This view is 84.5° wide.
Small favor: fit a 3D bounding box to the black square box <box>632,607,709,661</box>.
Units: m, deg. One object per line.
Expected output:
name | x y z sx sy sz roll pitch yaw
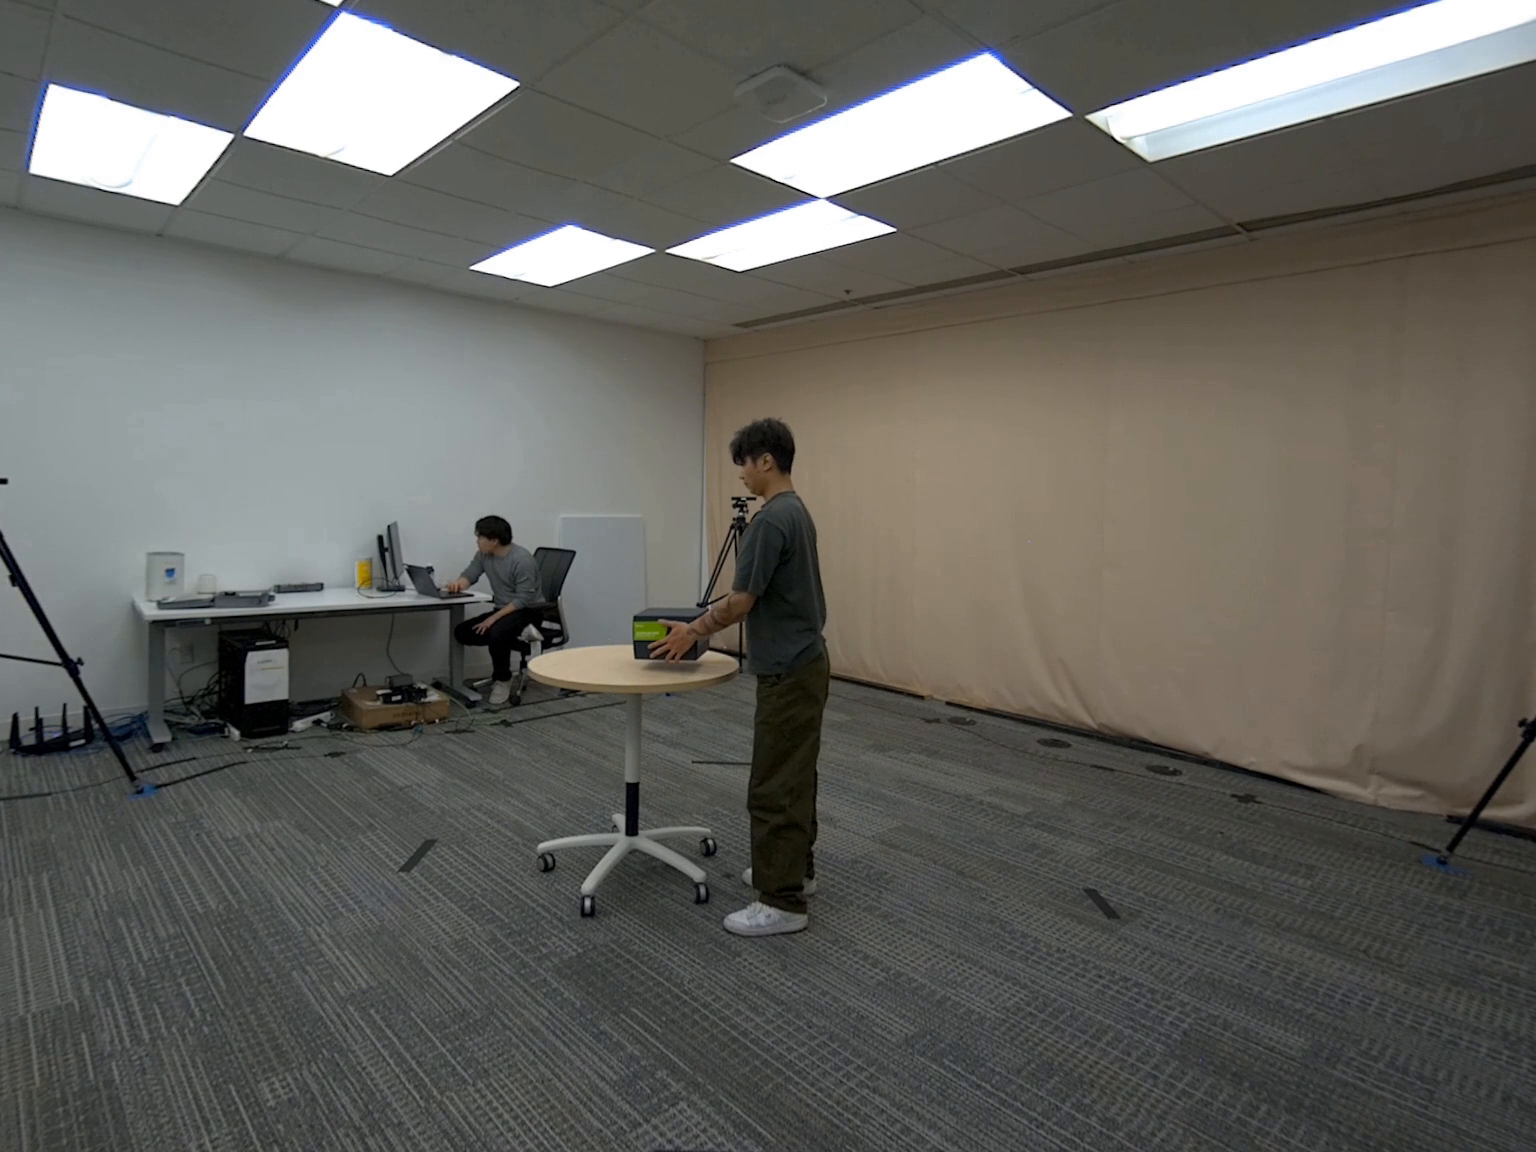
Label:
black square box | -0.350 0.202 3.018 0.230 0.155 0.216 0 5 10
